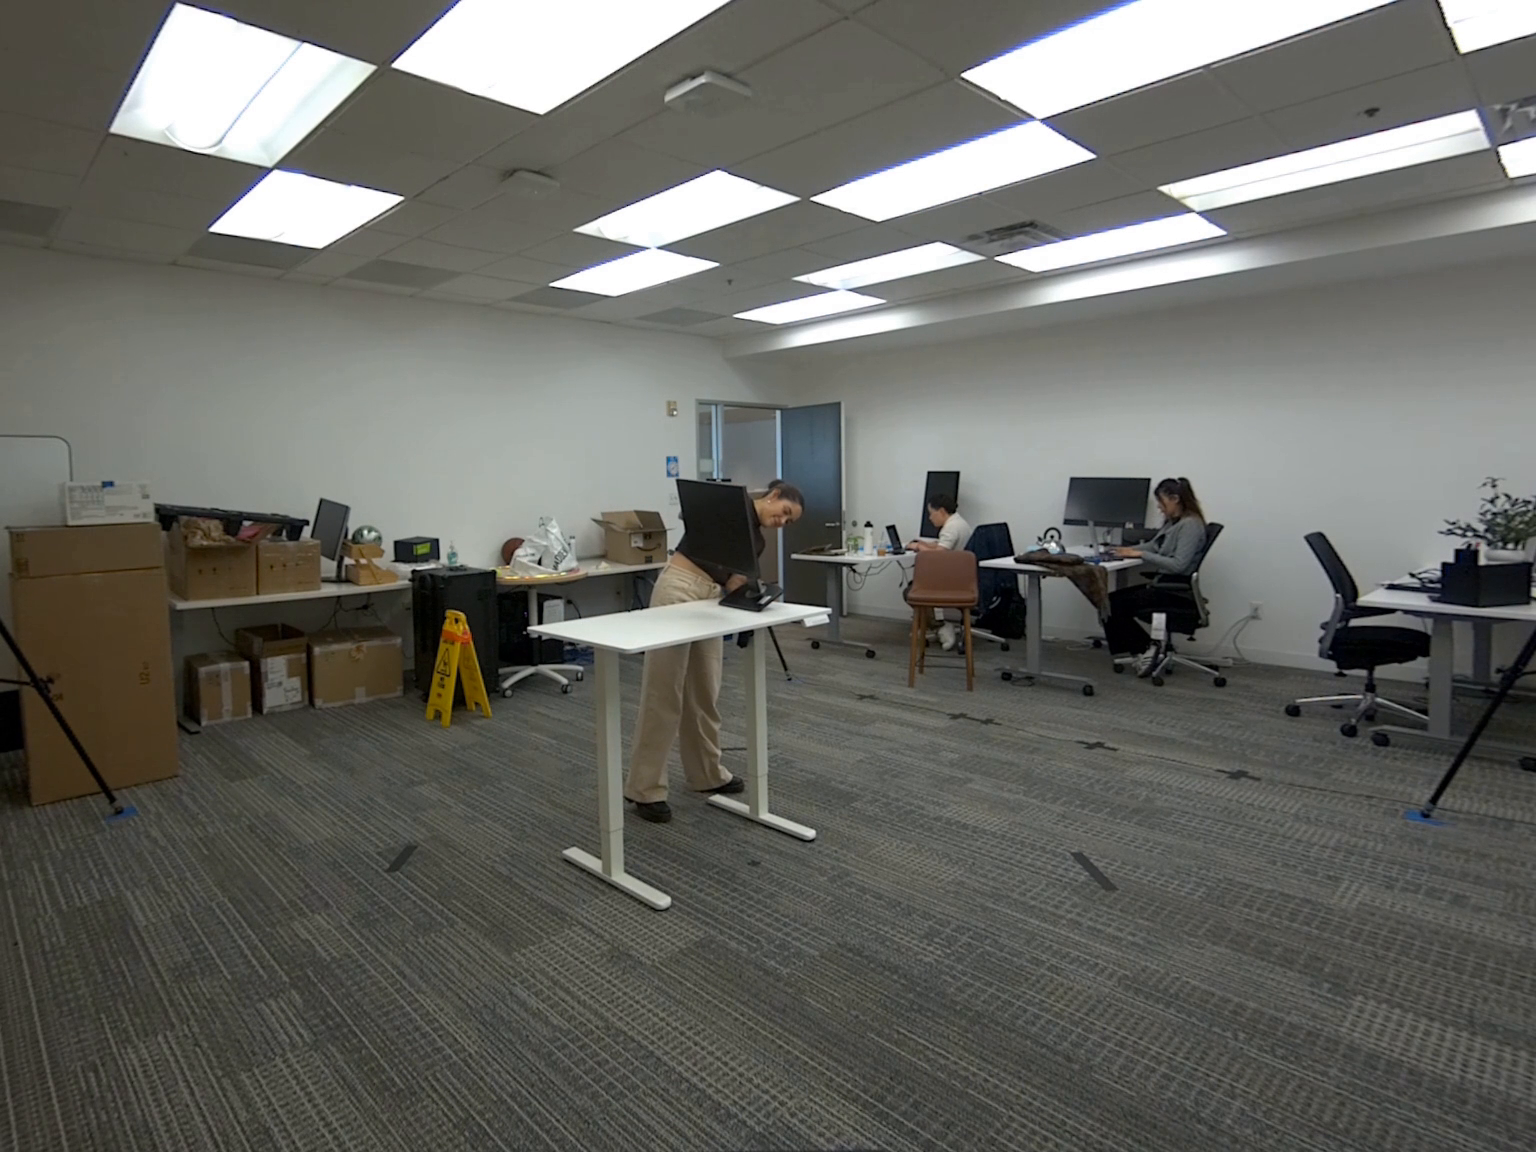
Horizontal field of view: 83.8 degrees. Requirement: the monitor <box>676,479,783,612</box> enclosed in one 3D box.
[{"bbox_3d":[-0.152,-0.131,3.361,0.185,0.512,0.555,-30,21,-25],"label":"monitor"}]
